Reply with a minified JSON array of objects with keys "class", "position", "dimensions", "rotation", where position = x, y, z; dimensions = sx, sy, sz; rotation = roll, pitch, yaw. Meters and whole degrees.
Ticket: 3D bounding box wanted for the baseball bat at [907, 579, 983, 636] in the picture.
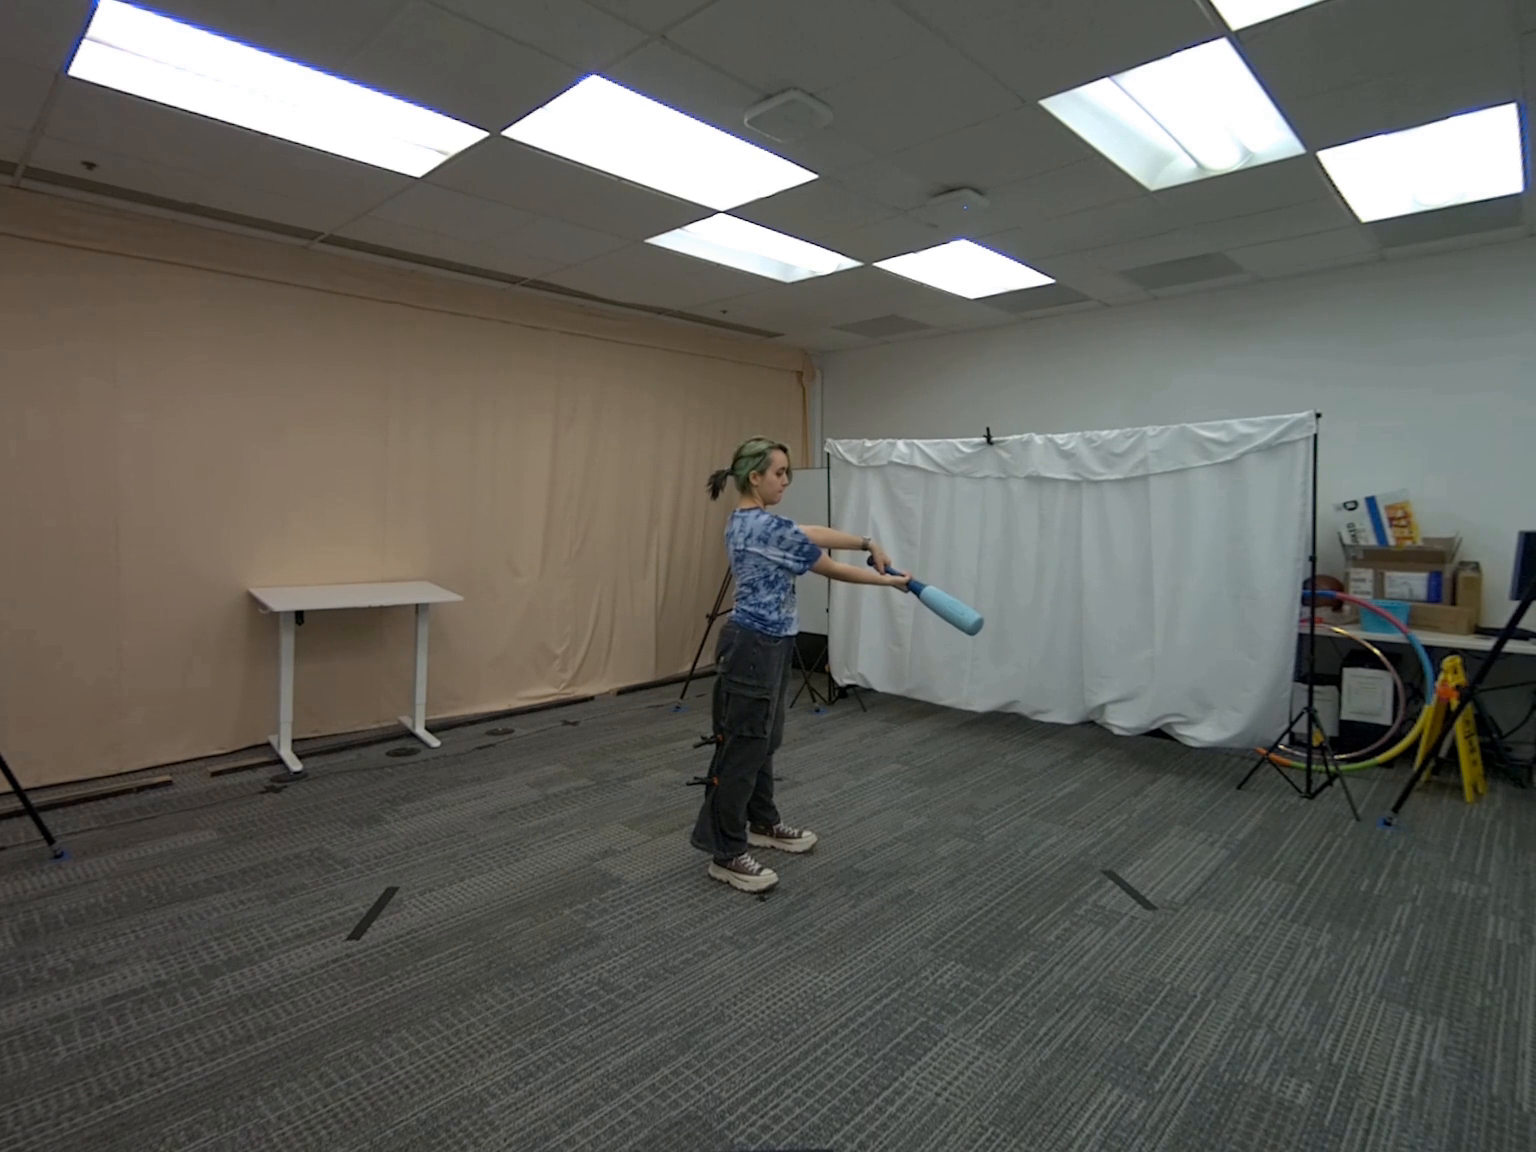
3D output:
[{"class":"baseball bat","position":[0.586,0.063,3.203],"dimensions":[0.086,0.088,0.563],"rotation":[-3,28,-41]}]
